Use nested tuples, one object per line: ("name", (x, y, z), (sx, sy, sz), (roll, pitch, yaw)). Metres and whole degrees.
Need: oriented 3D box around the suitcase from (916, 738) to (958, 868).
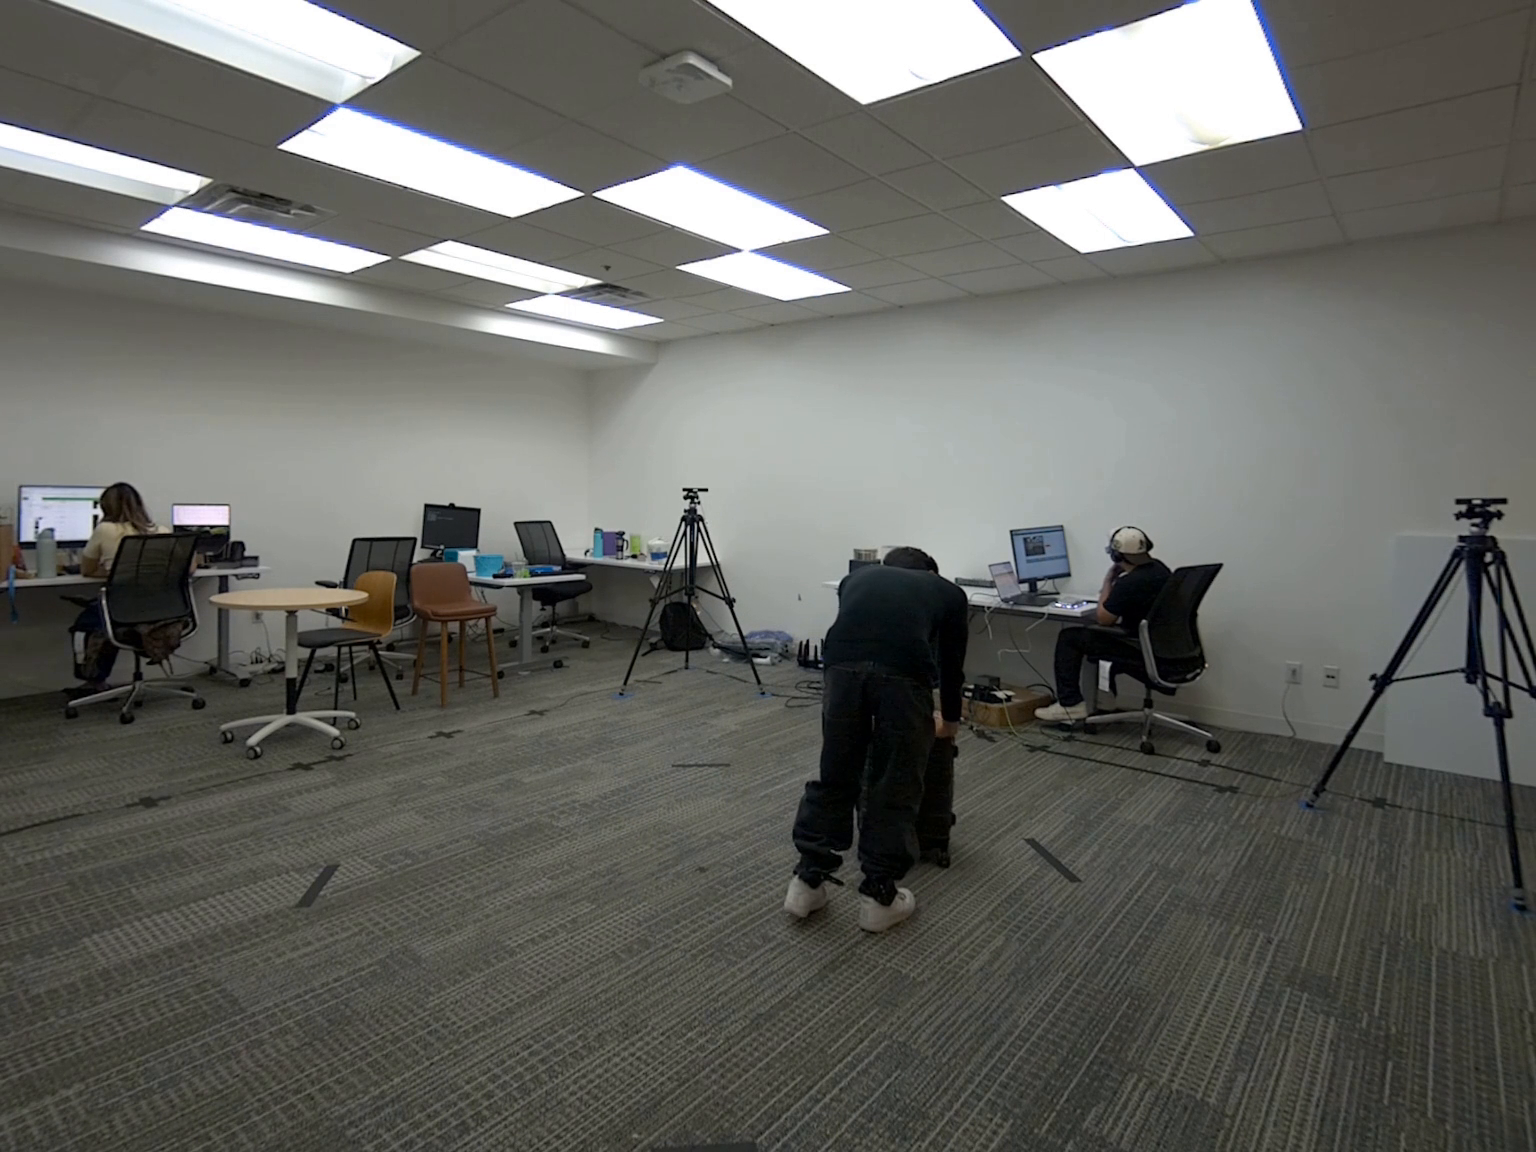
("suitcase", (0.526, 0.788, 3.325), (0.379, 0.549, 0.246), (2, 1, 8))
